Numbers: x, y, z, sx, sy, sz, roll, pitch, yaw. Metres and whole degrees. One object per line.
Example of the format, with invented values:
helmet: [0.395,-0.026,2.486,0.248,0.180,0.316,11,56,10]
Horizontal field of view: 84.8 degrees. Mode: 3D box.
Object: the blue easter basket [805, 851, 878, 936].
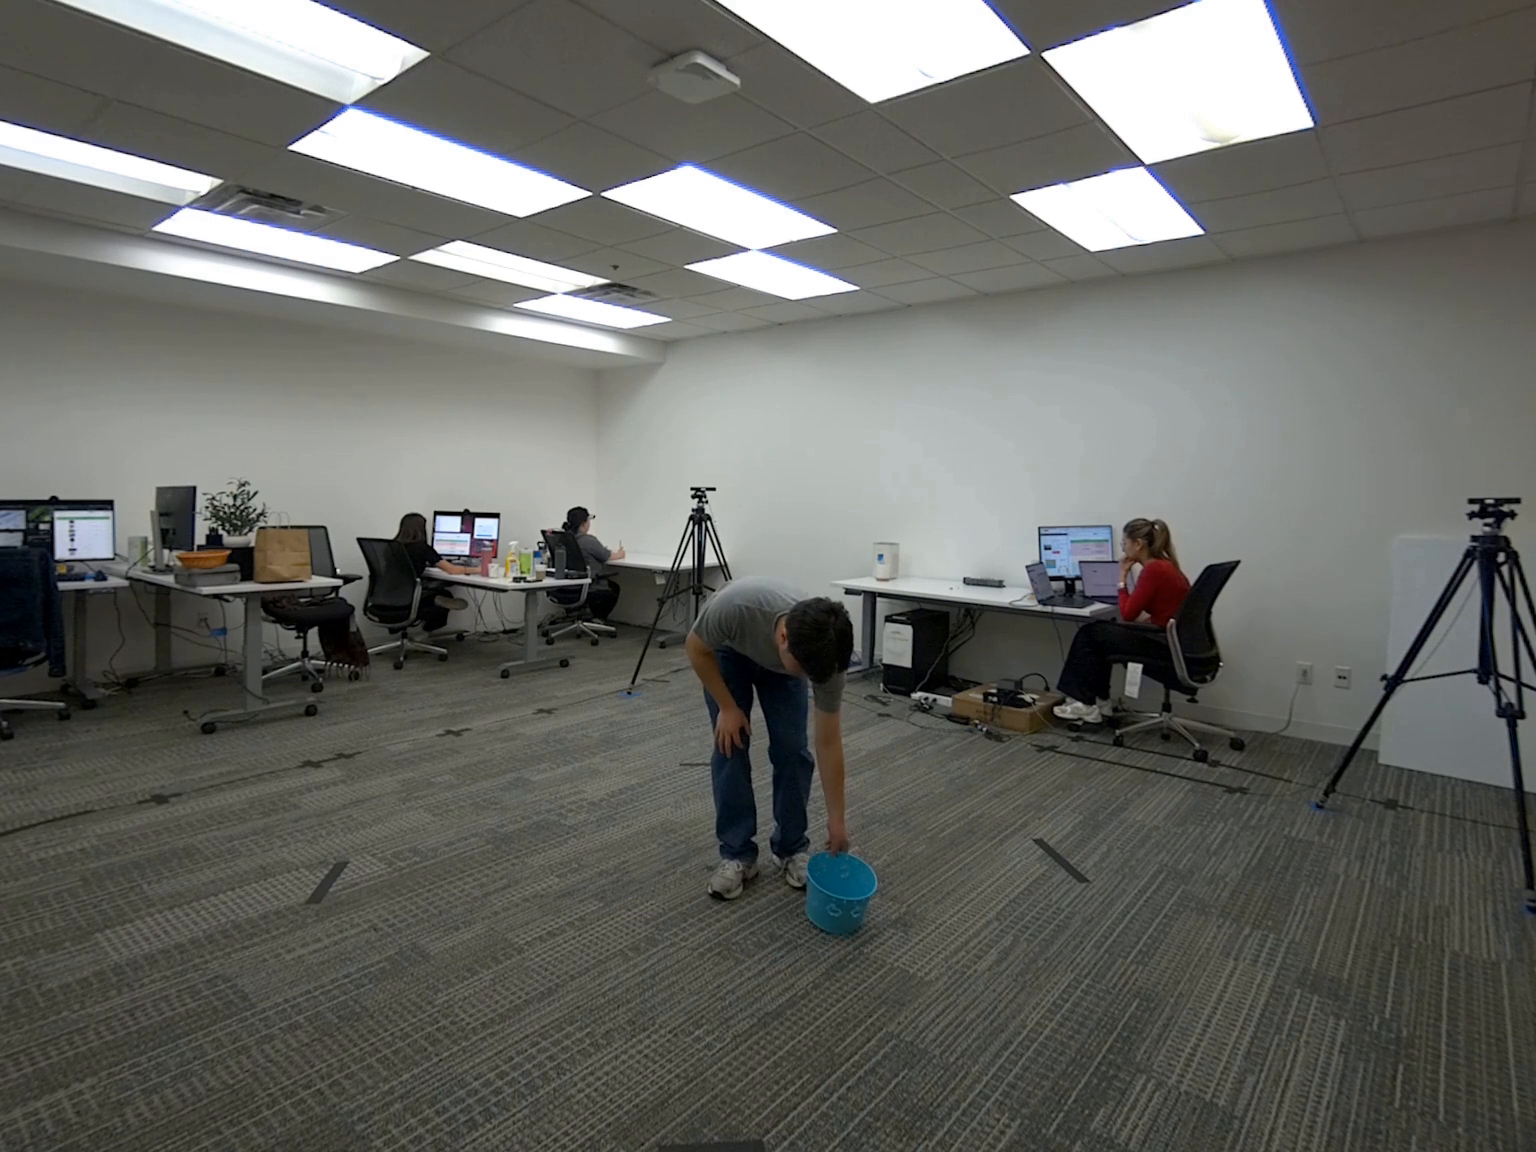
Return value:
blue easter basket: [0.223,1.015,2.732,0.243,0.154,0.247,6,15,-4]
